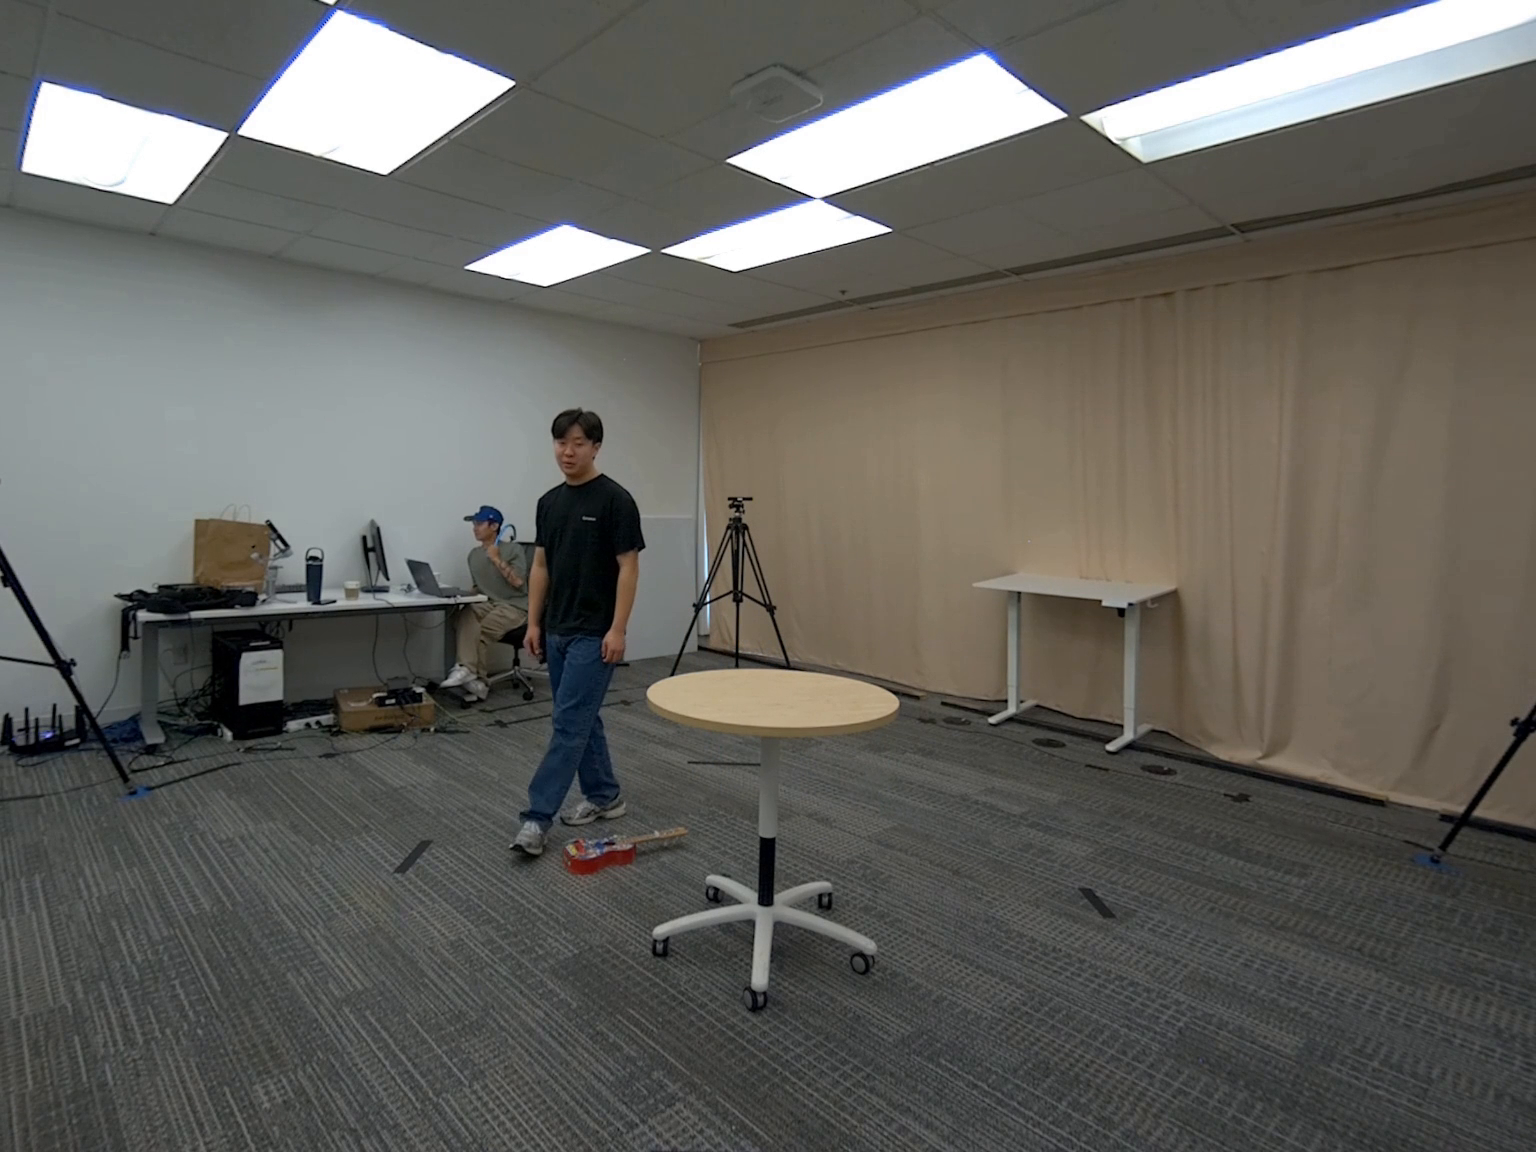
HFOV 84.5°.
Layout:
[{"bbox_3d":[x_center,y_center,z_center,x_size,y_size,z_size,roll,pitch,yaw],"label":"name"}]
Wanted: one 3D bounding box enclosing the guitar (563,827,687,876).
[{"bbox_3d":[-0.541,1.056,3.229,0.491,0.070,0.196,-1,5,-18],"label":"guitar"}]
